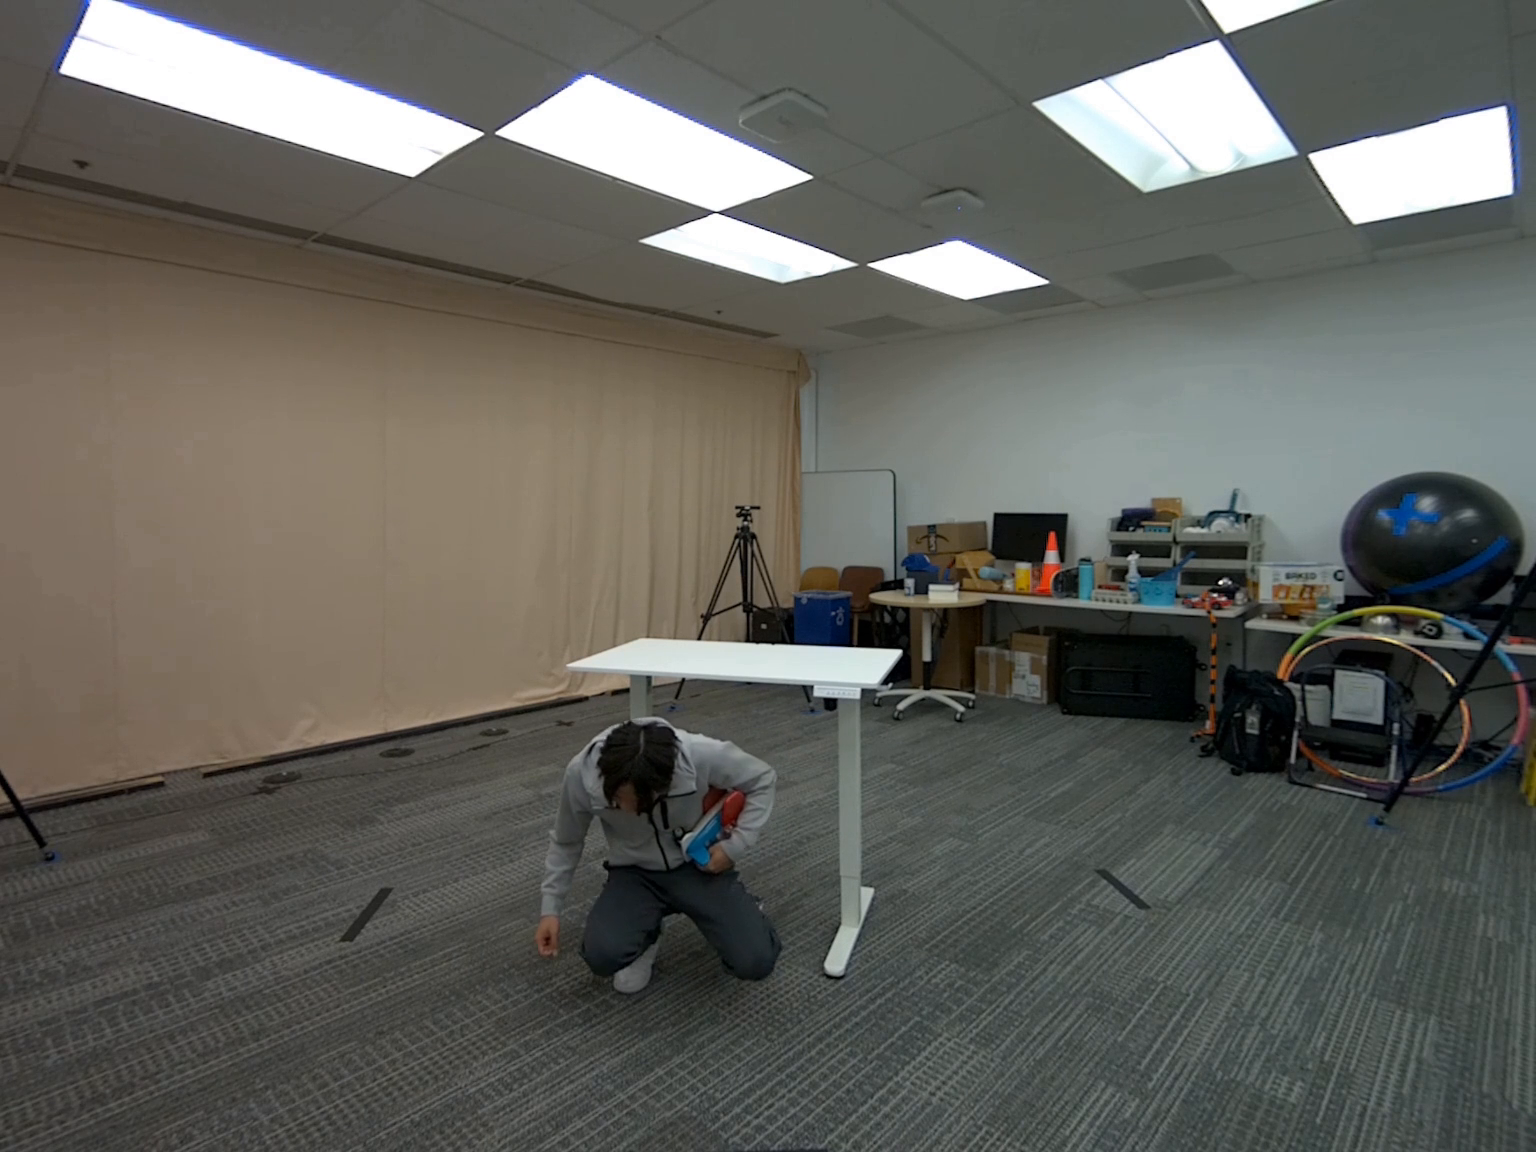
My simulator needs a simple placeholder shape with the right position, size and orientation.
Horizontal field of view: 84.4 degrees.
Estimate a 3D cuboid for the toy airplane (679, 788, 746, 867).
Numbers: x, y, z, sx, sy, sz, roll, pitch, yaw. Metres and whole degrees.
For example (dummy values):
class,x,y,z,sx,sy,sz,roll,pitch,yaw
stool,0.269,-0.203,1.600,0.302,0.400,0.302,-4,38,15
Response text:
class,x,y,z,sx,sy,sz,roll,pitch,yaw
toy airplane,-0.157,0.709,2.494,0.249,0.252,0.162,-33,44,-16
